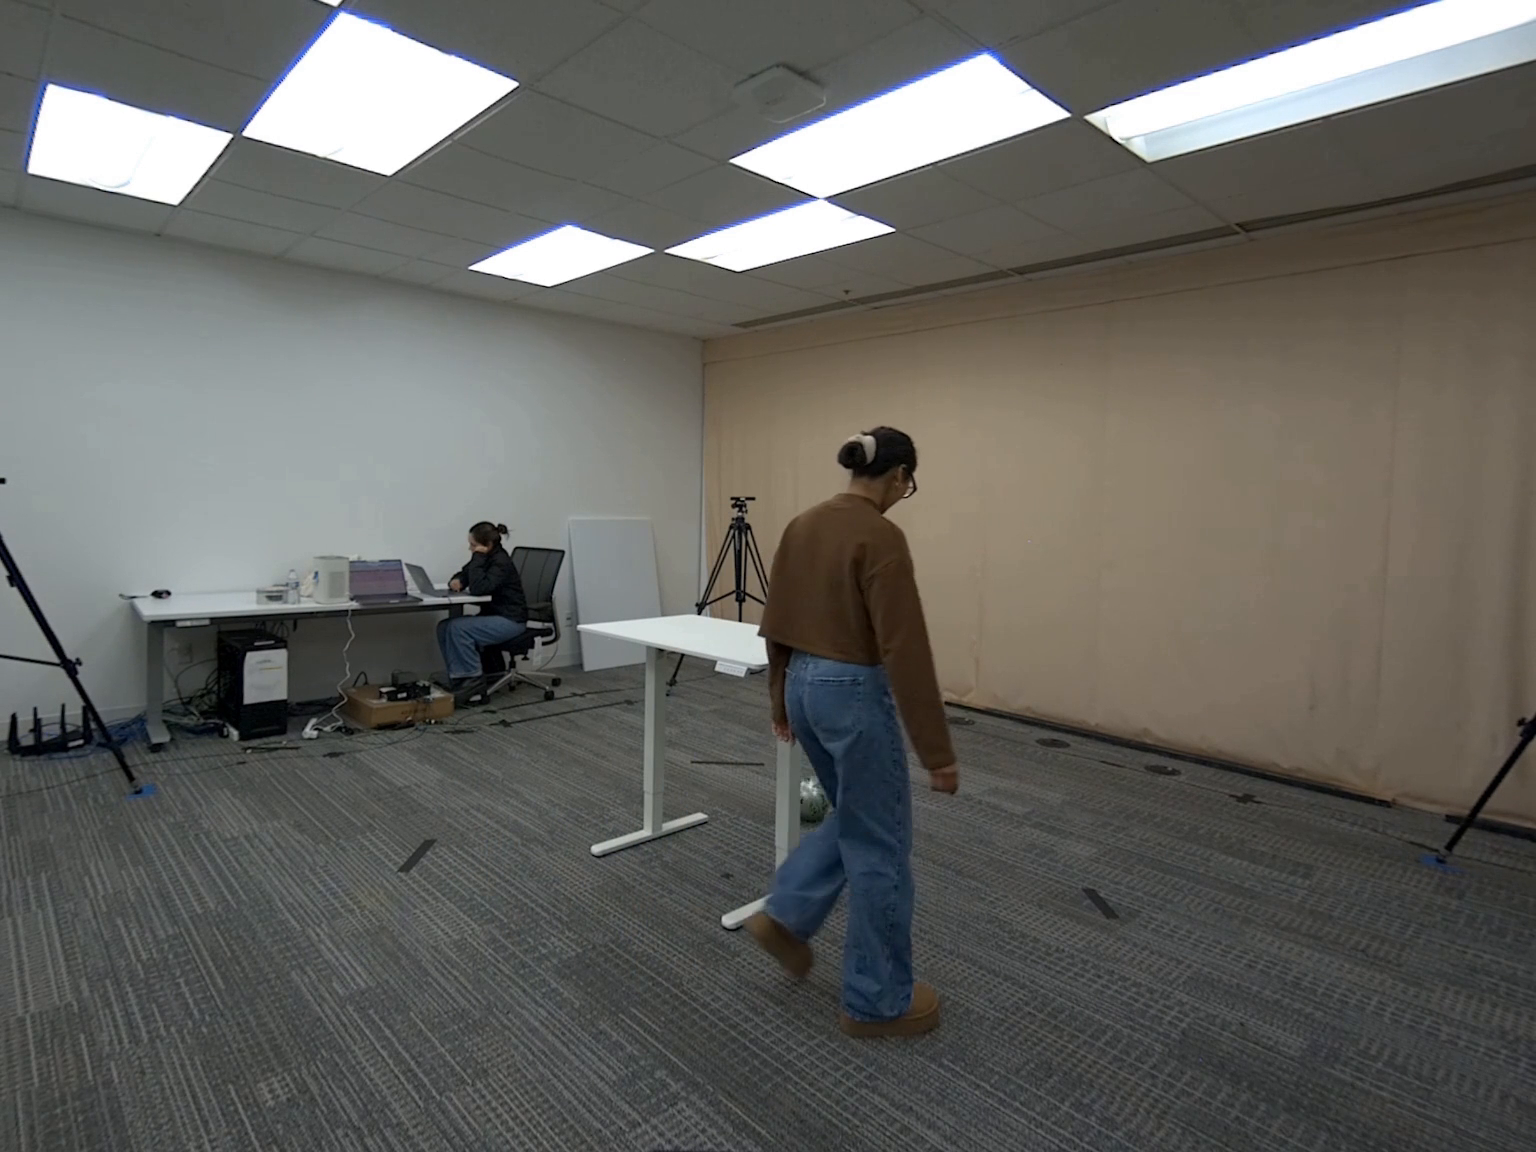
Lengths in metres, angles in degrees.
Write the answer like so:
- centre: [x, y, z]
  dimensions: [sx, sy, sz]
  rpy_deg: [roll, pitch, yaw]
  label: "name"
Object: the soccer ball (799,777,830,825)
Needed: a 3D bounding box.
- centre: [0.174, 0.972, 3.675]
  dimensions: [0.187, 0.187, 0.188]
  rpy_deg: [1, 4, -1]
  label: "soccer ball"
